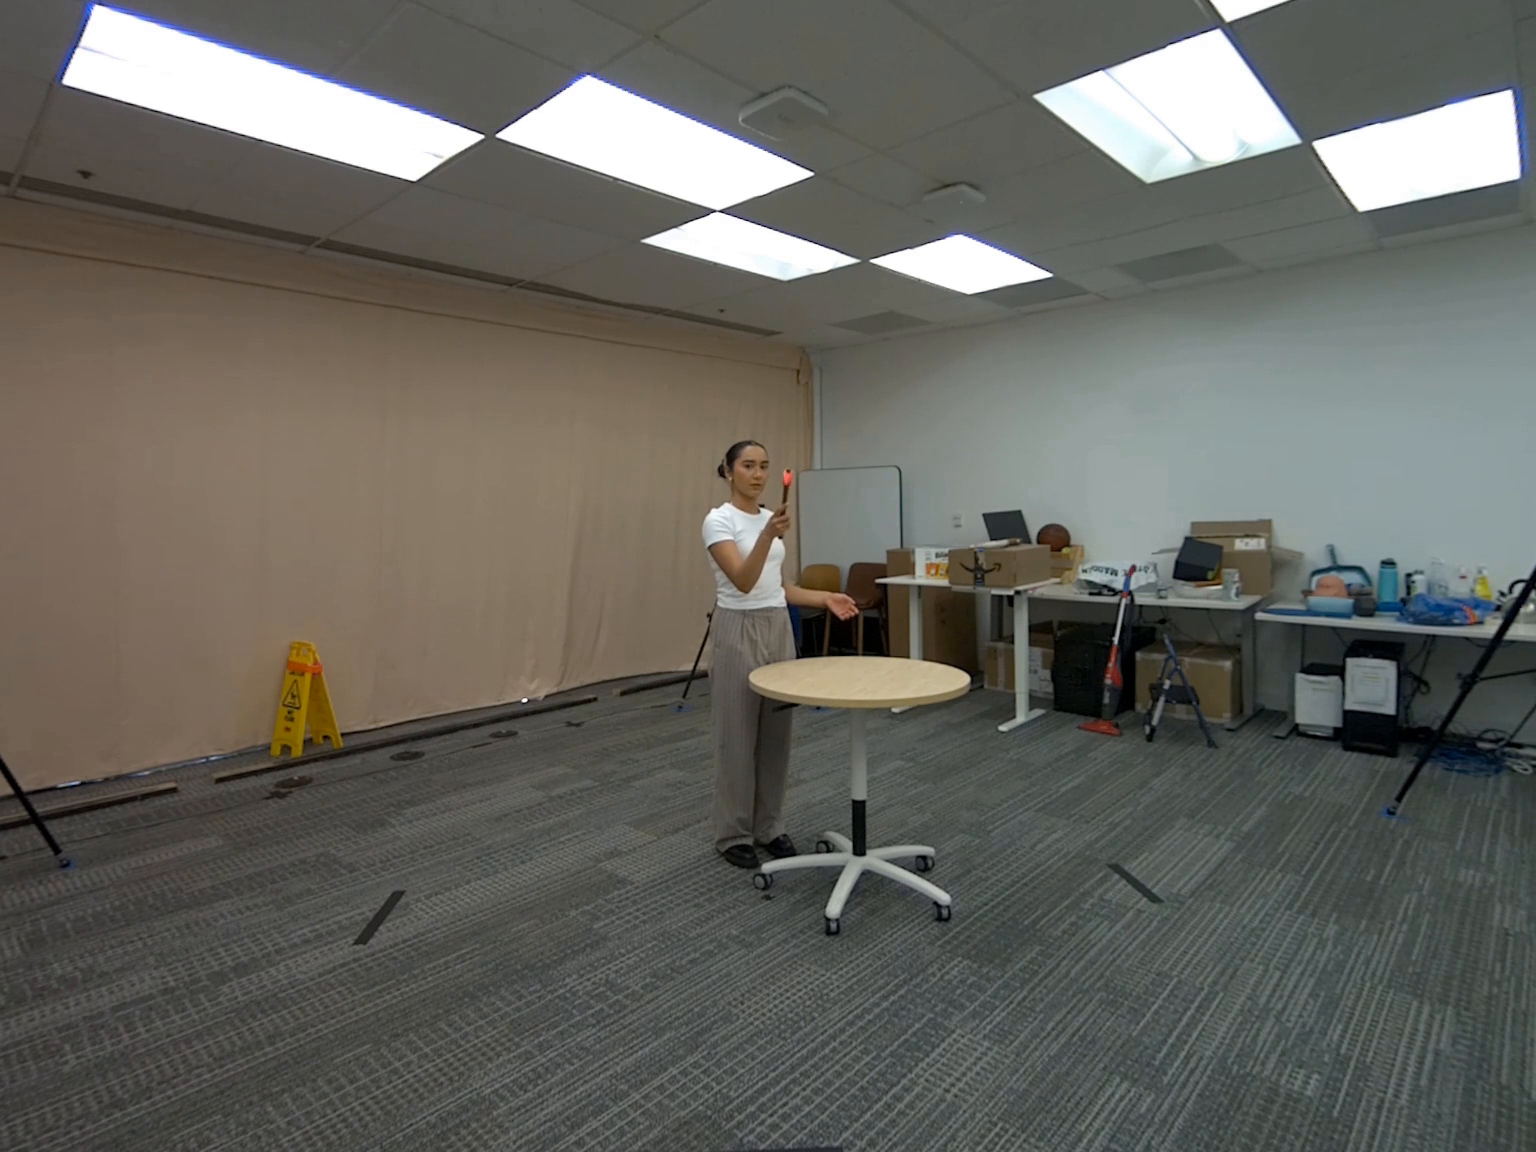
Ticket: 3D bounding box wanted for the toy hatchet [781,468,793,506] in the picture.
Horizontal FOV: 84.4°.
[{"bbox_3d":[0.064,-0.266,2.936,0.029,0.266,0.133,7,44,-1],"label":"toy hatchet"}]
